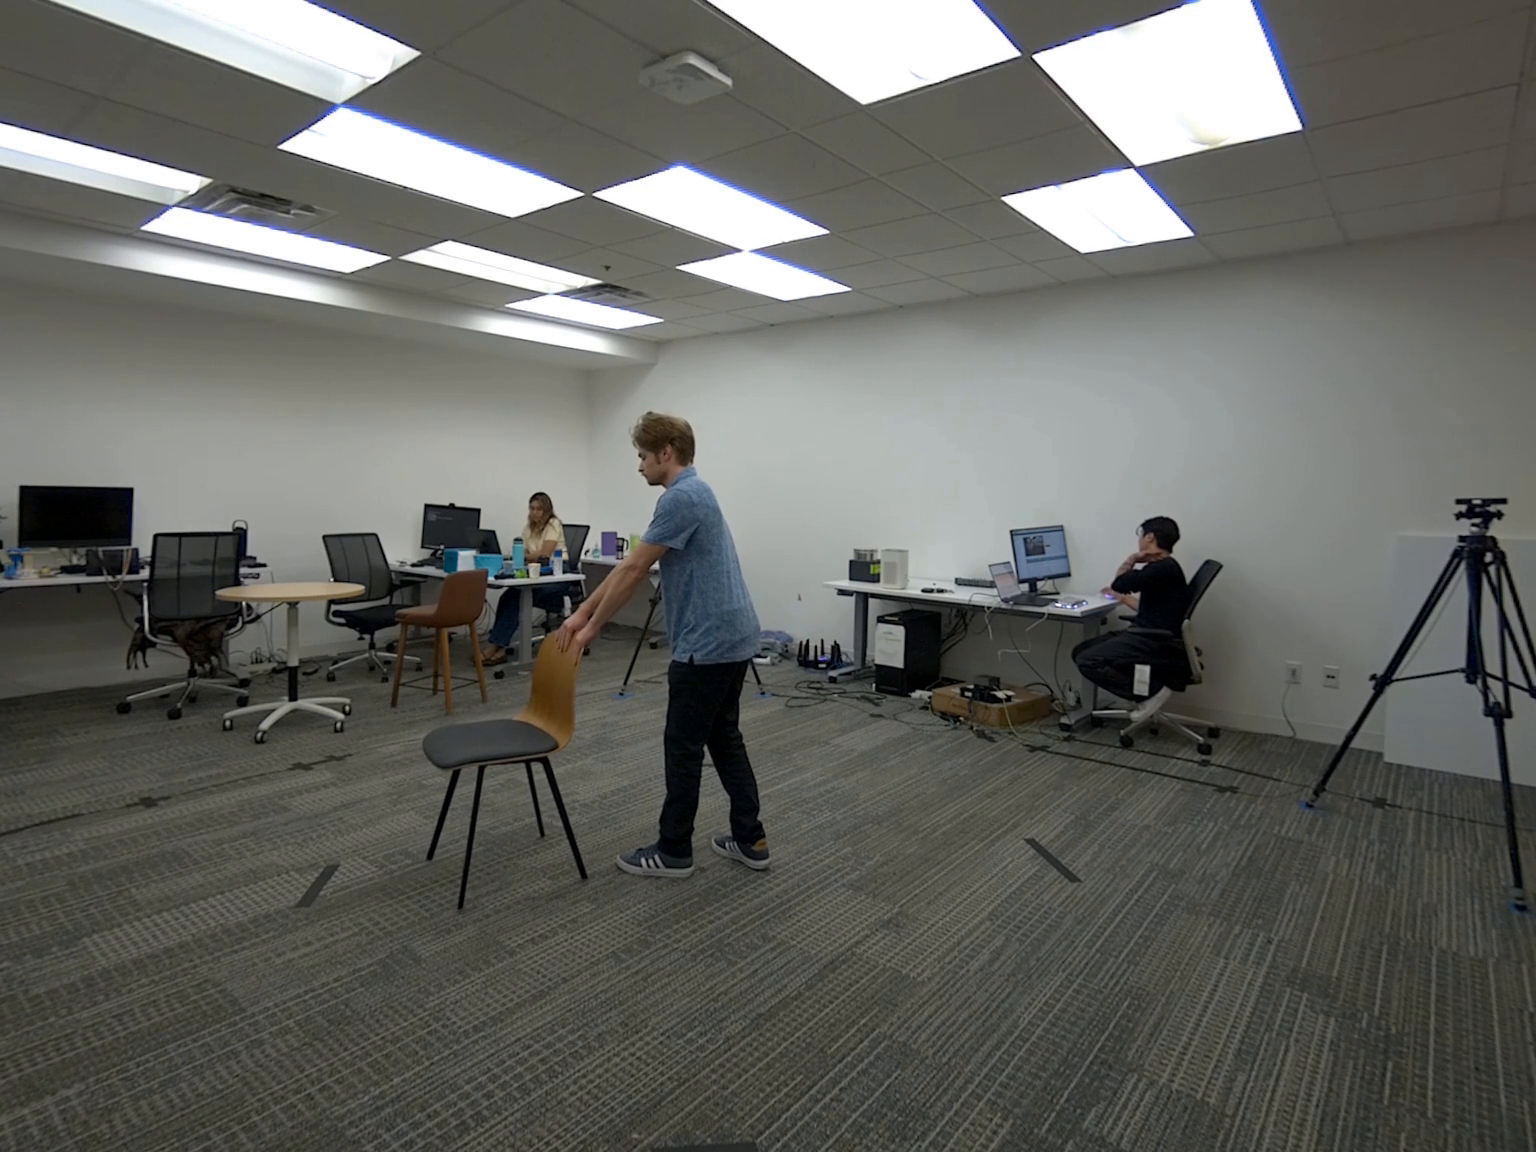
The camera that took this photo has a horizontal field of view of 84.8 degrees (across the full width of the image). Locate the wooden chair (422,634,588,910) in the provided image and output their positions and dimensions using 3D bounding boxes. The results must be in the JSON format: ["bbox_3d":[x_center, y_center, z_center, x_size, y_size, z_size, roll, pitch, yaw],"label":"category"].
[{"bbox_3d":[-0.965,0.636,3.058,0.507,0.877,0.493,4,1,-34],"label":"wooden chair"}]
